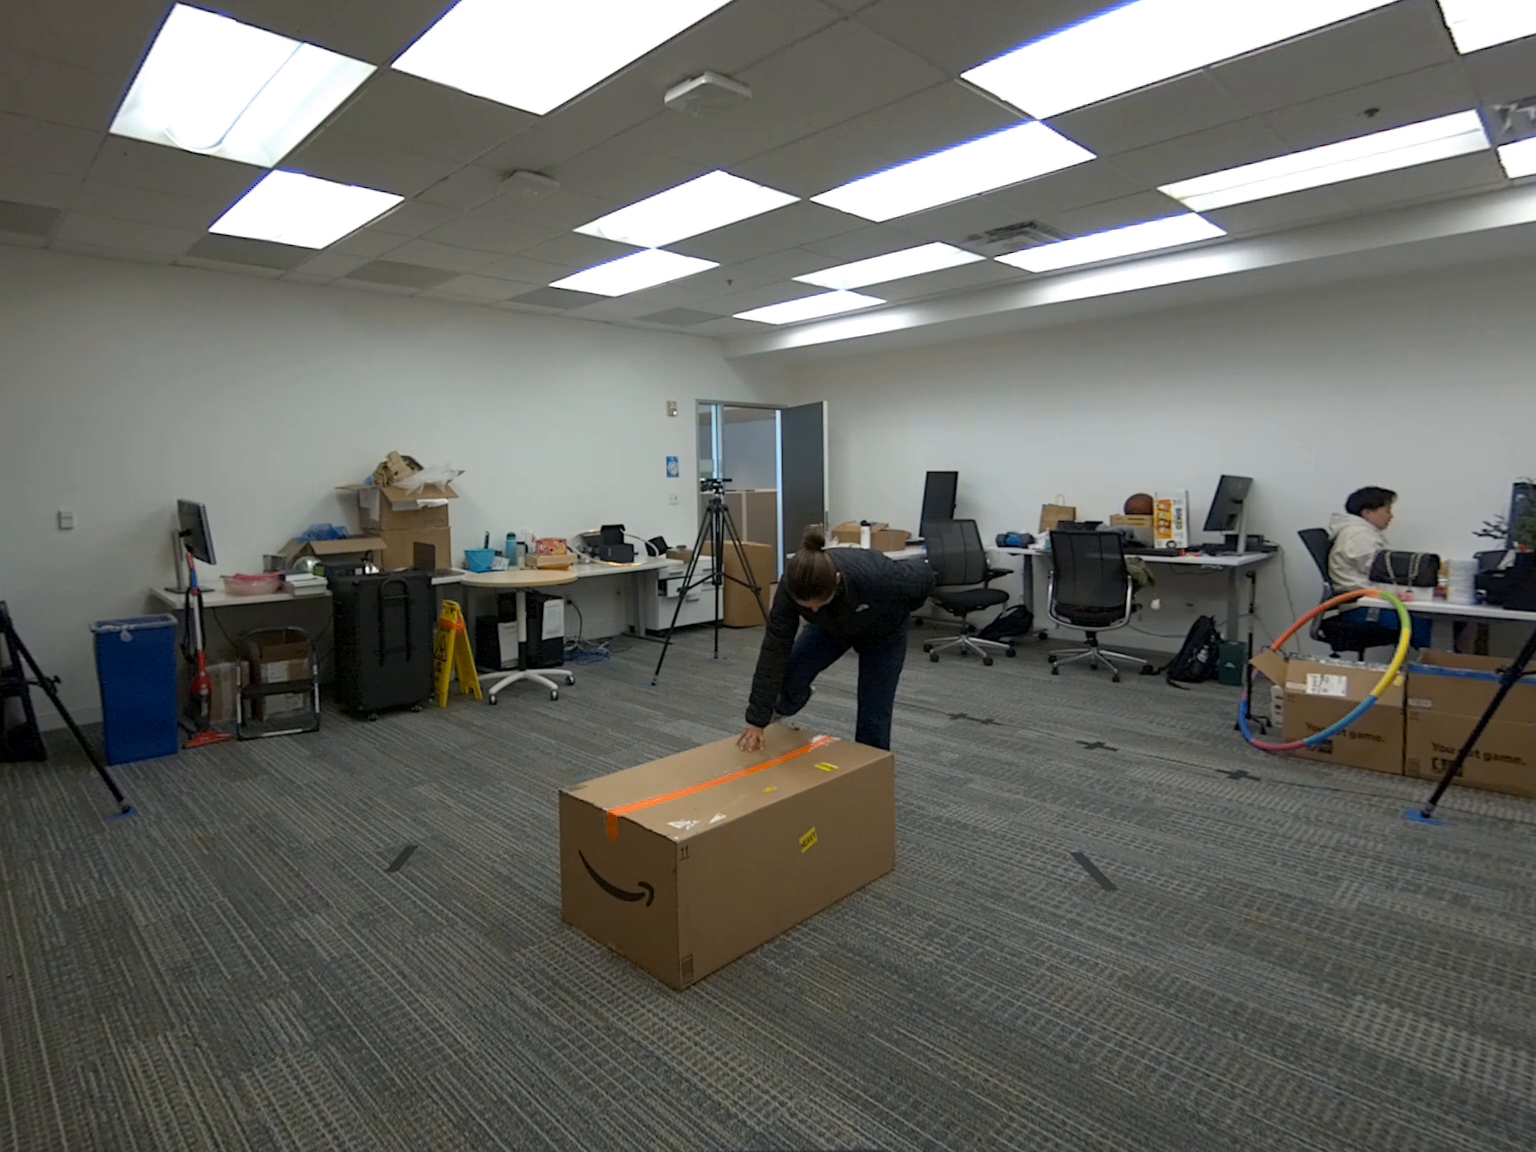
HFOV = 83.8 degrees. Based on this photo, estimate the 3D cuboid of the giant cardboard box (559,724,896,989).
[{"bbox_3d":[-0.108,0.863,2.886,0.601,0.445,1.001,2,7,44],"label":"giant cardboard box"}]
